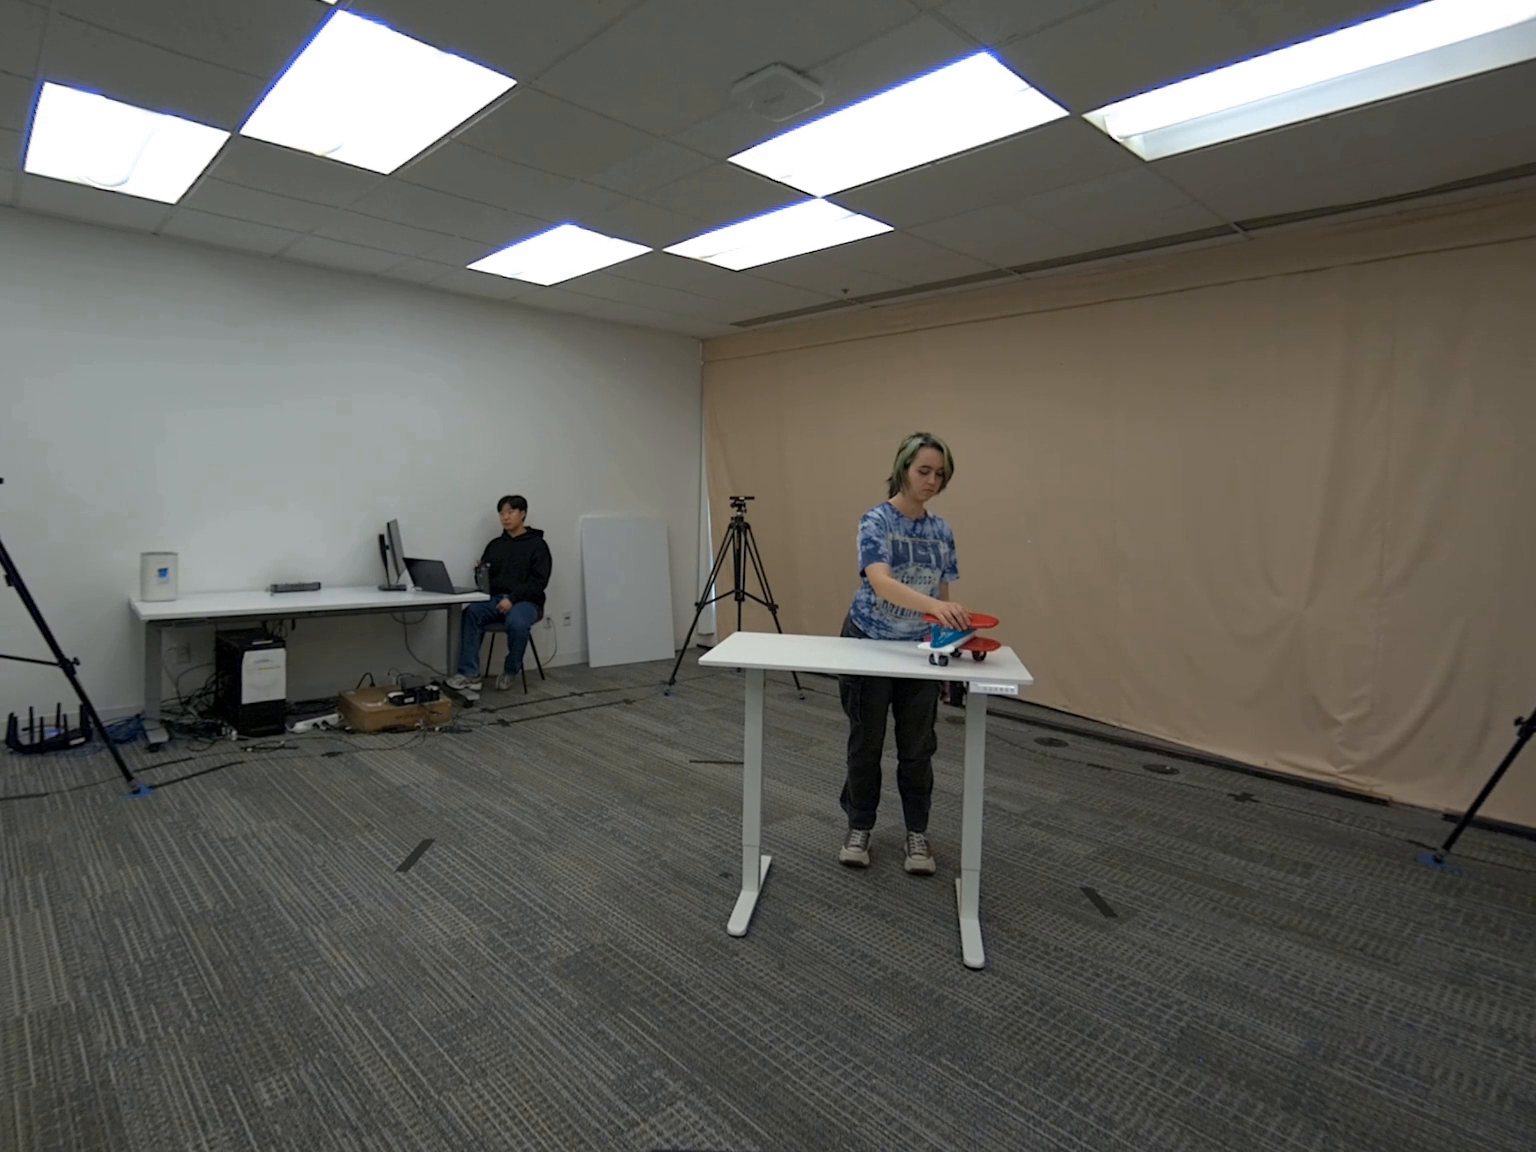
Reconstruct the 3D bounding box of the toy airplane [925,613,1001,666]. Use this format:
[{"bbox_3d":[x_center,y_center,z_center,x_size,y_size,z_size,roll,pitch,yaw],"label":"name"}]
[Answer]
[{"bbox_3d":[0.605,0.202,2.679,0.254,0.156,0.256,3,4,15],"label":"toy airplane"}]
